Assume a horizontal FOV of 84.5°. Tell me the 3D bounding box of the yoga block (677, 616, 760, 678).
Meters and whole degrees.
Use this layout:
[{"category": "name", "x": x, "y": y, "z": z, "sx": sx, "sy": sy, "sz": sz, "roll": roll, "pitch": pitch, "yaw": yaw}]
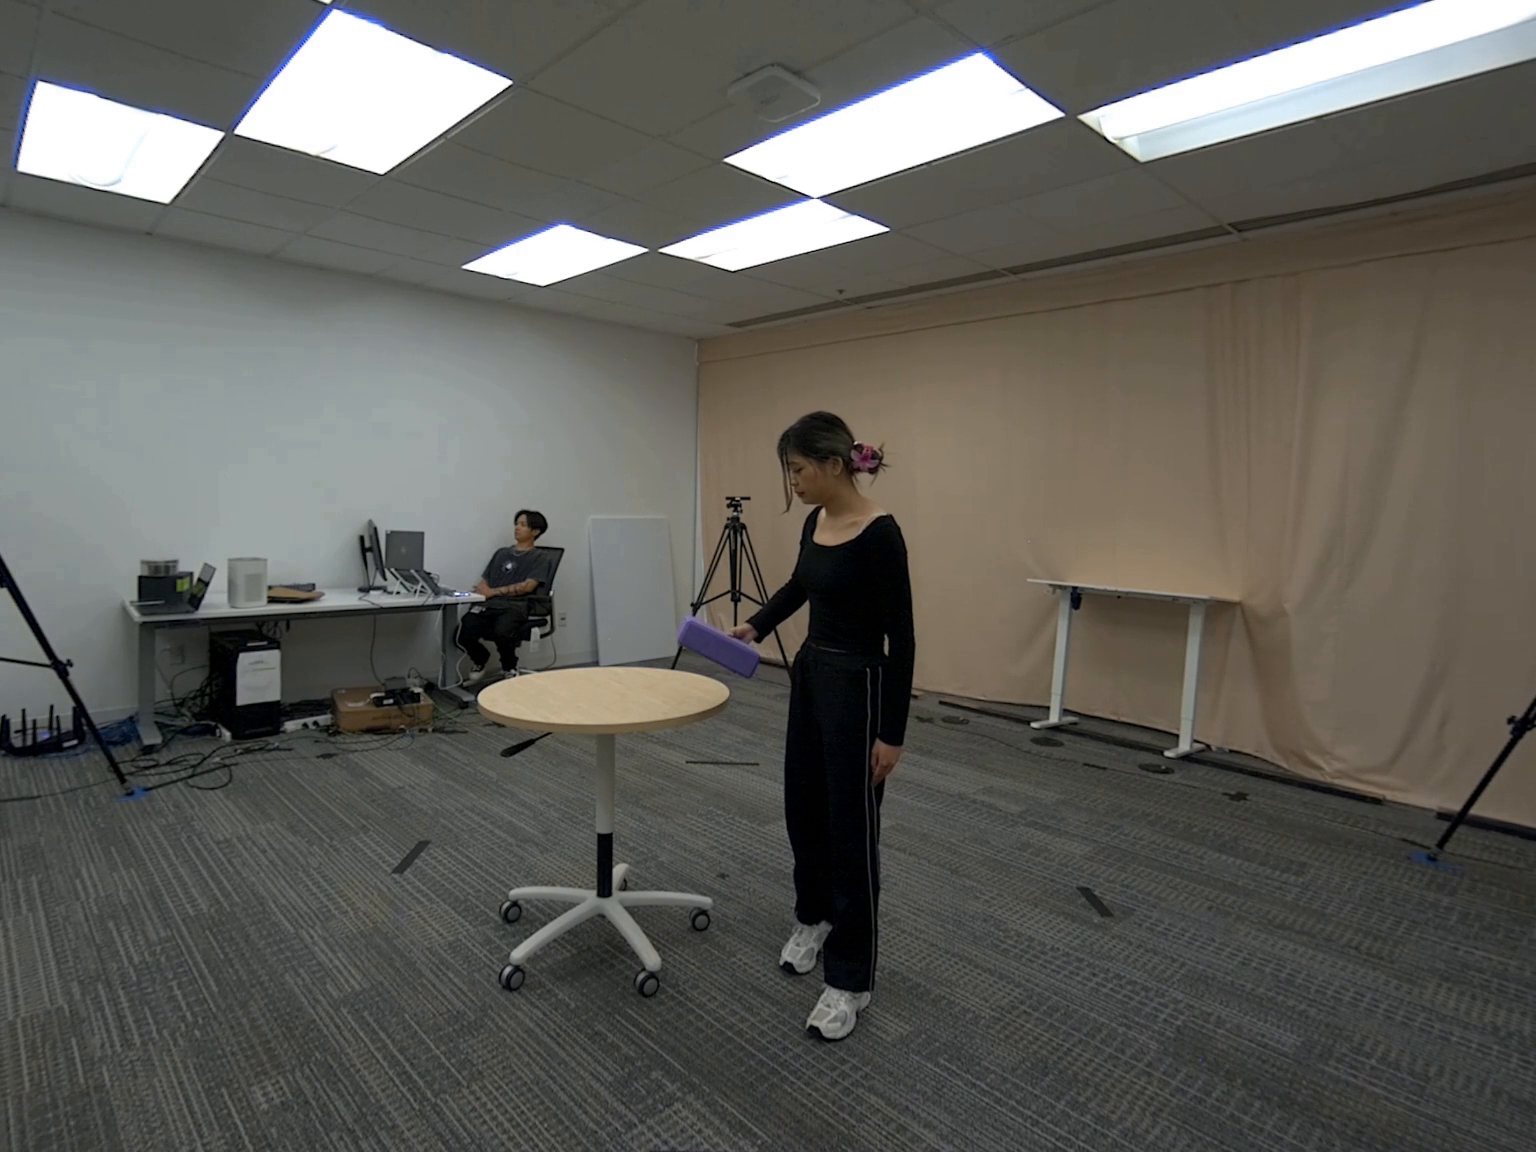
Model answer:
[{"category": "yoga block", "x": -0.139, "y": 0.195, "z": 2.360, "sx": 0.229, "sy": 0.076, "sz": 0.149, "roll": 25, "pitch": -1, "yaw": 0}]
